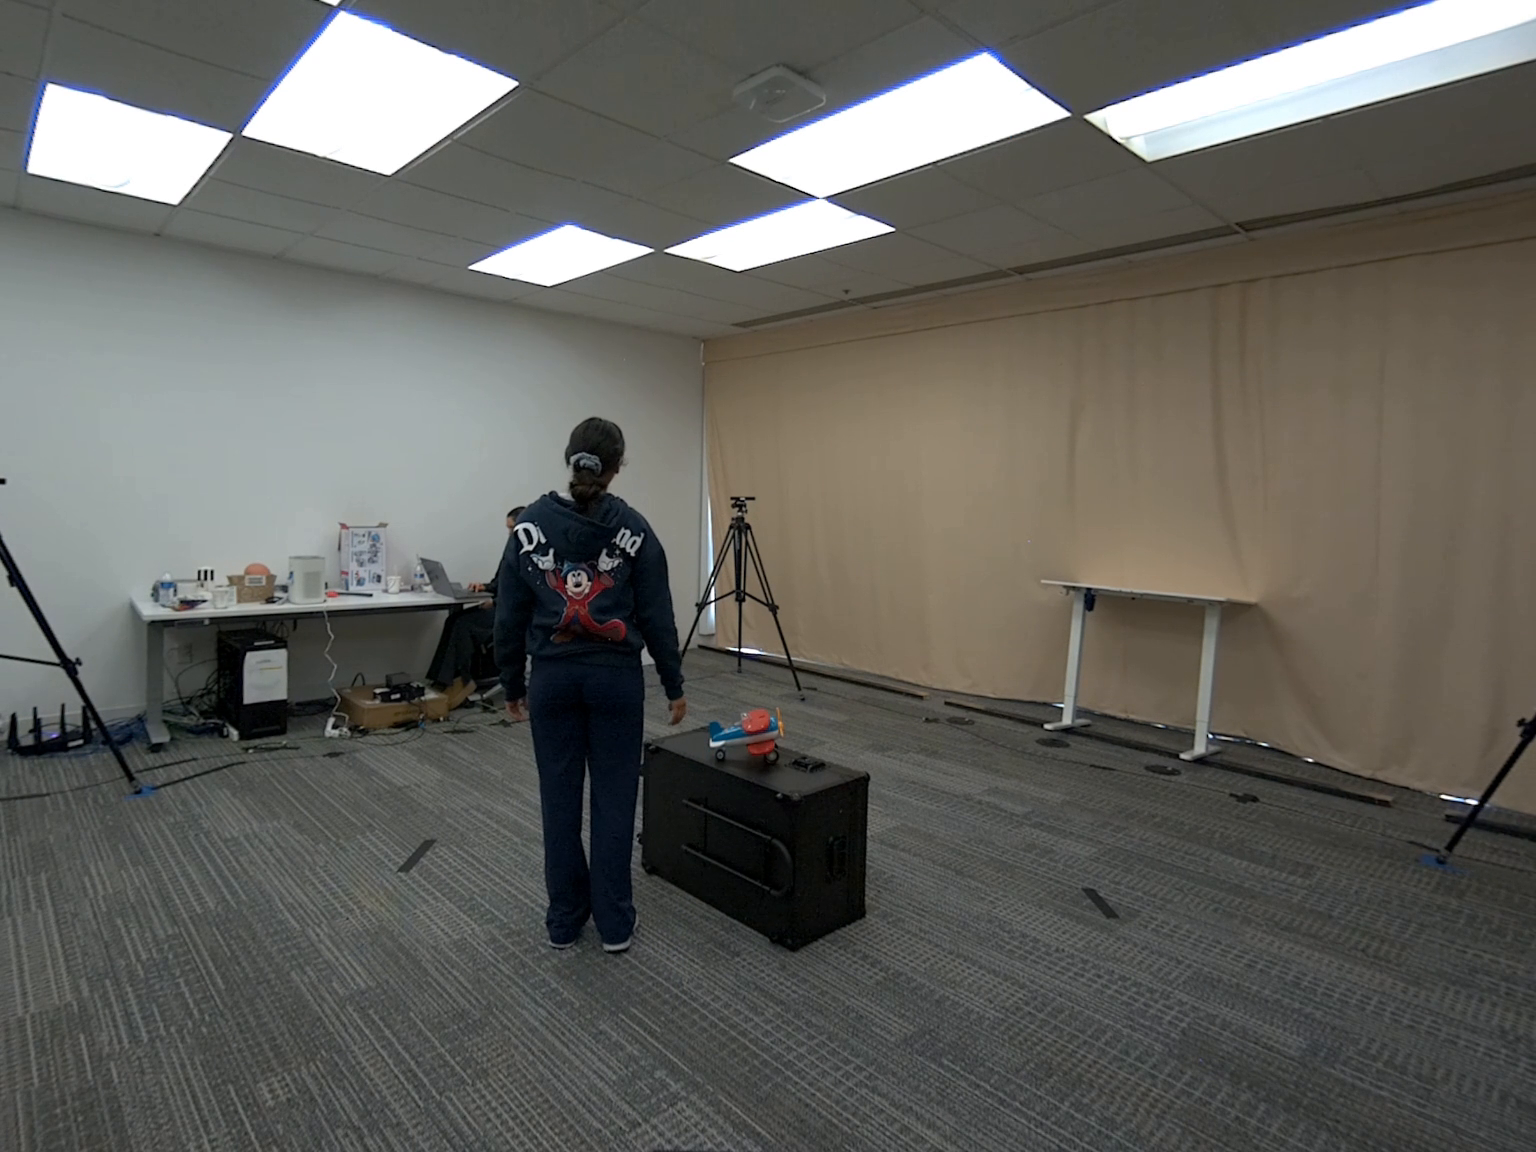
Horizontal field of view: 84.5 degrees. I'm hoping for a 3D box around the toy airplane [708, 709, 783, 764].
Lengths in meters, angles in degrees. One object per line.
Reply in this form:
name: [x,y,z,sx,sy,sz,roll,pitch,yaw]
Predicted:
toy airplane: [-0.075,0.564,2.931,0.254,0.156,0.256,0,5,-27]
